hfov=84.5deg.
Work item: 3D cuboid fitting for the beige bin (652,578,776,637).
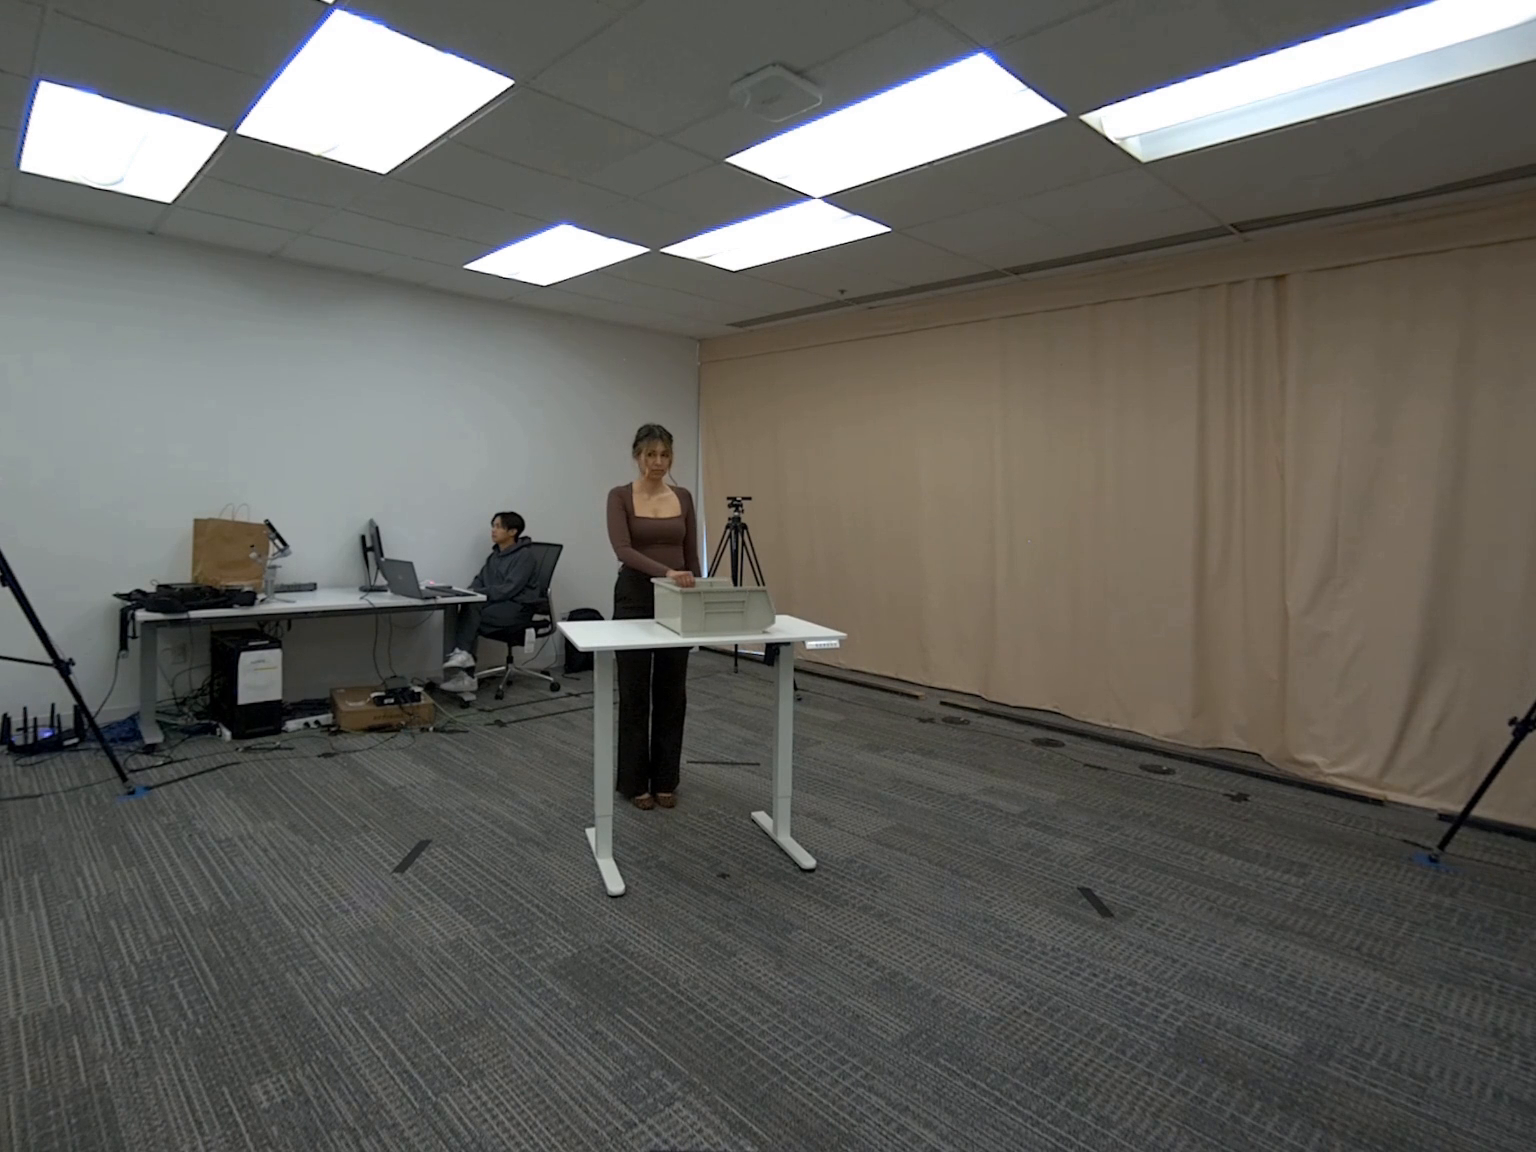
[{"bbox_3d":[-0.228,0.117,3.284,0.372,0.188,0.430,-2,6,-21],"label":"beige bin"}]
